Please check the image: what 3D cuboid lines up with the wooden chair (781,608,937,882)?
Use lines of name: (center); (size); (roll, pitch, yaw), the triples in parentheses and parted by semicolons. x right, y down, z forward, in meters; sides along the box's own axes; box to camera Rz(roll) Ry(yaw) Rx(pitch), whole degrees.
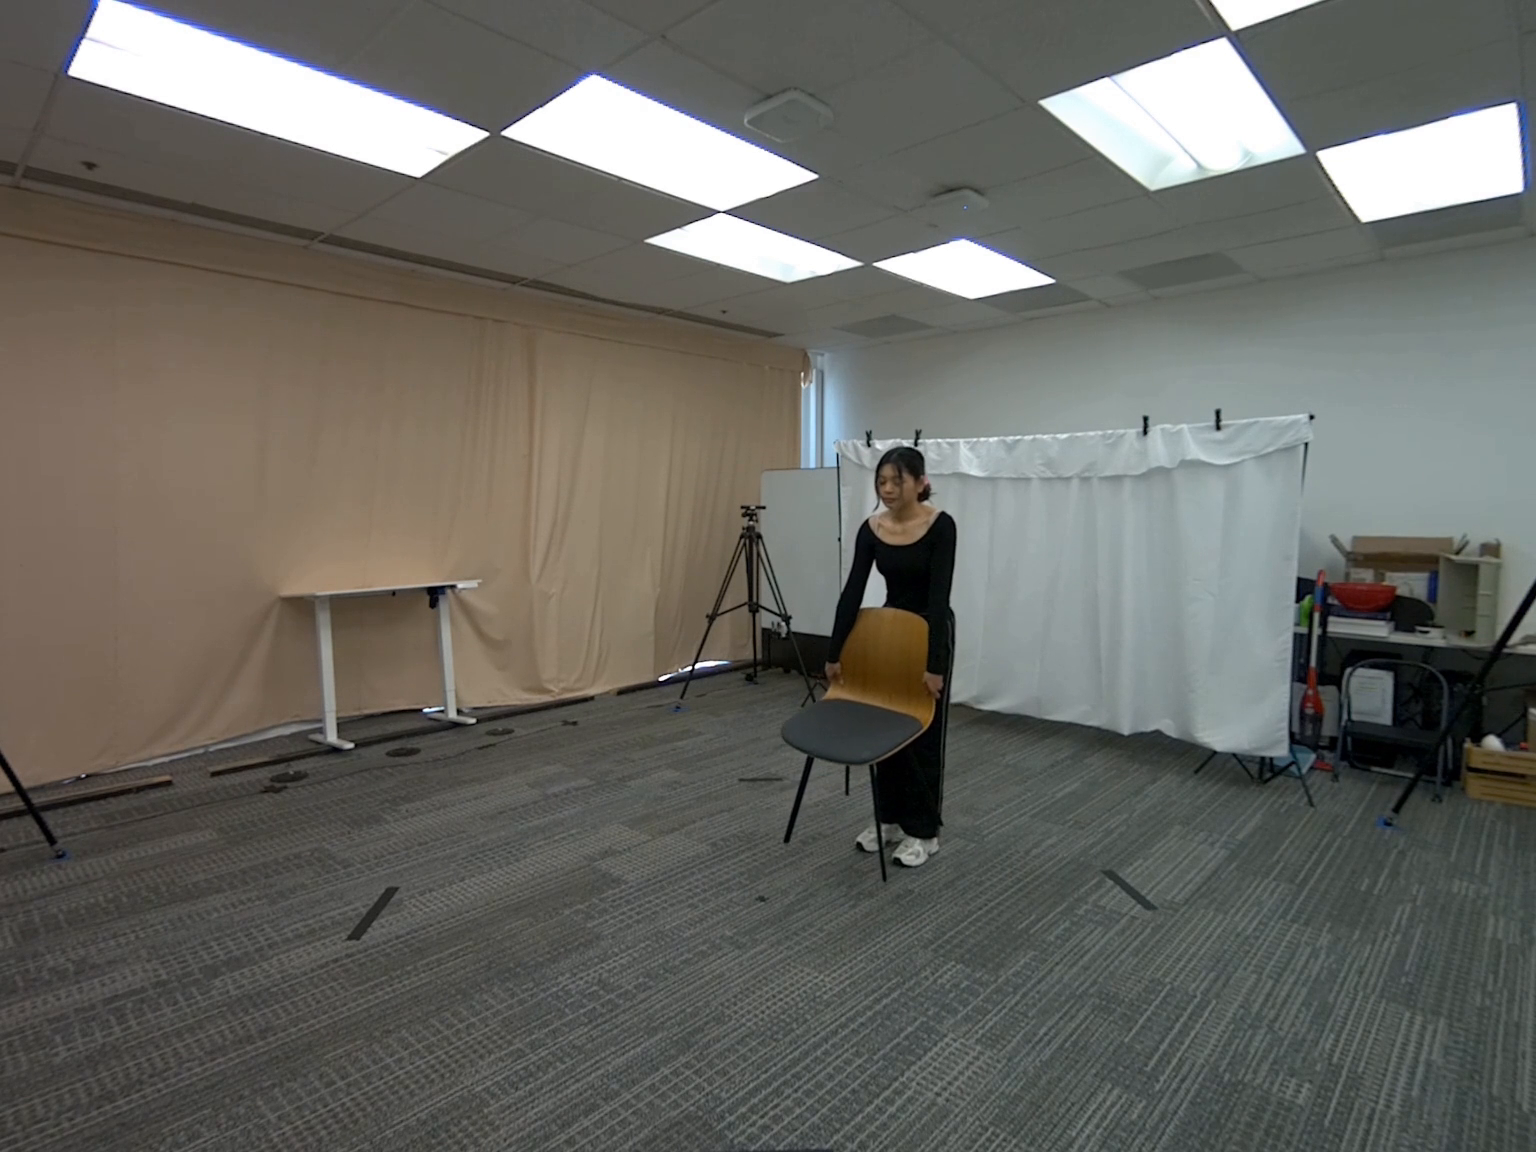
wooden chair: (0.343, 0.603, 3.184); (0.494, 0.872, 0.509); (7, 12, 39)
